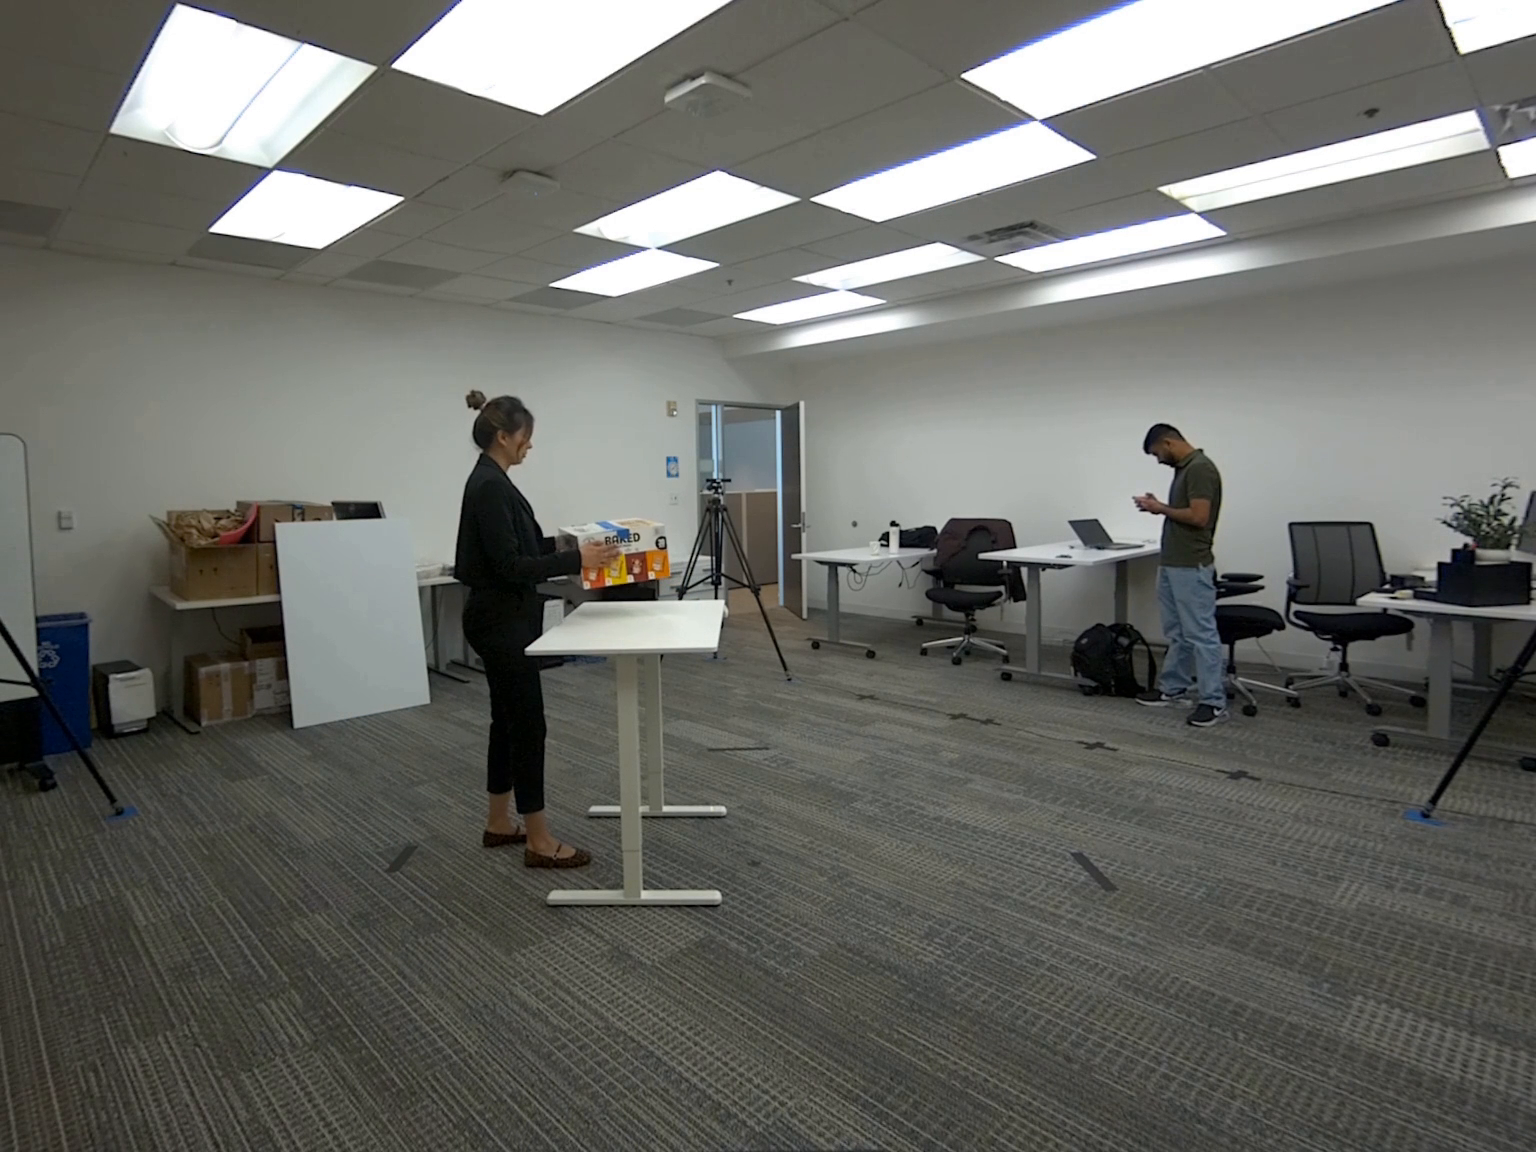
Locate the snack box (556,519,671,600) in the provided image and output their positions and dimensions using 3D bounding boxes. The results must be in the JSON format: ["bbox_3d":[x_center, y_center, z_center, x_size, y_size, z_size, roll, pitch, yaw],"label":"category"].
[{"bbox_3d":[-0.612,-0.093,3.369,0.335,0.204,0.415,-8,10,-21],"label":"snack box"}]
